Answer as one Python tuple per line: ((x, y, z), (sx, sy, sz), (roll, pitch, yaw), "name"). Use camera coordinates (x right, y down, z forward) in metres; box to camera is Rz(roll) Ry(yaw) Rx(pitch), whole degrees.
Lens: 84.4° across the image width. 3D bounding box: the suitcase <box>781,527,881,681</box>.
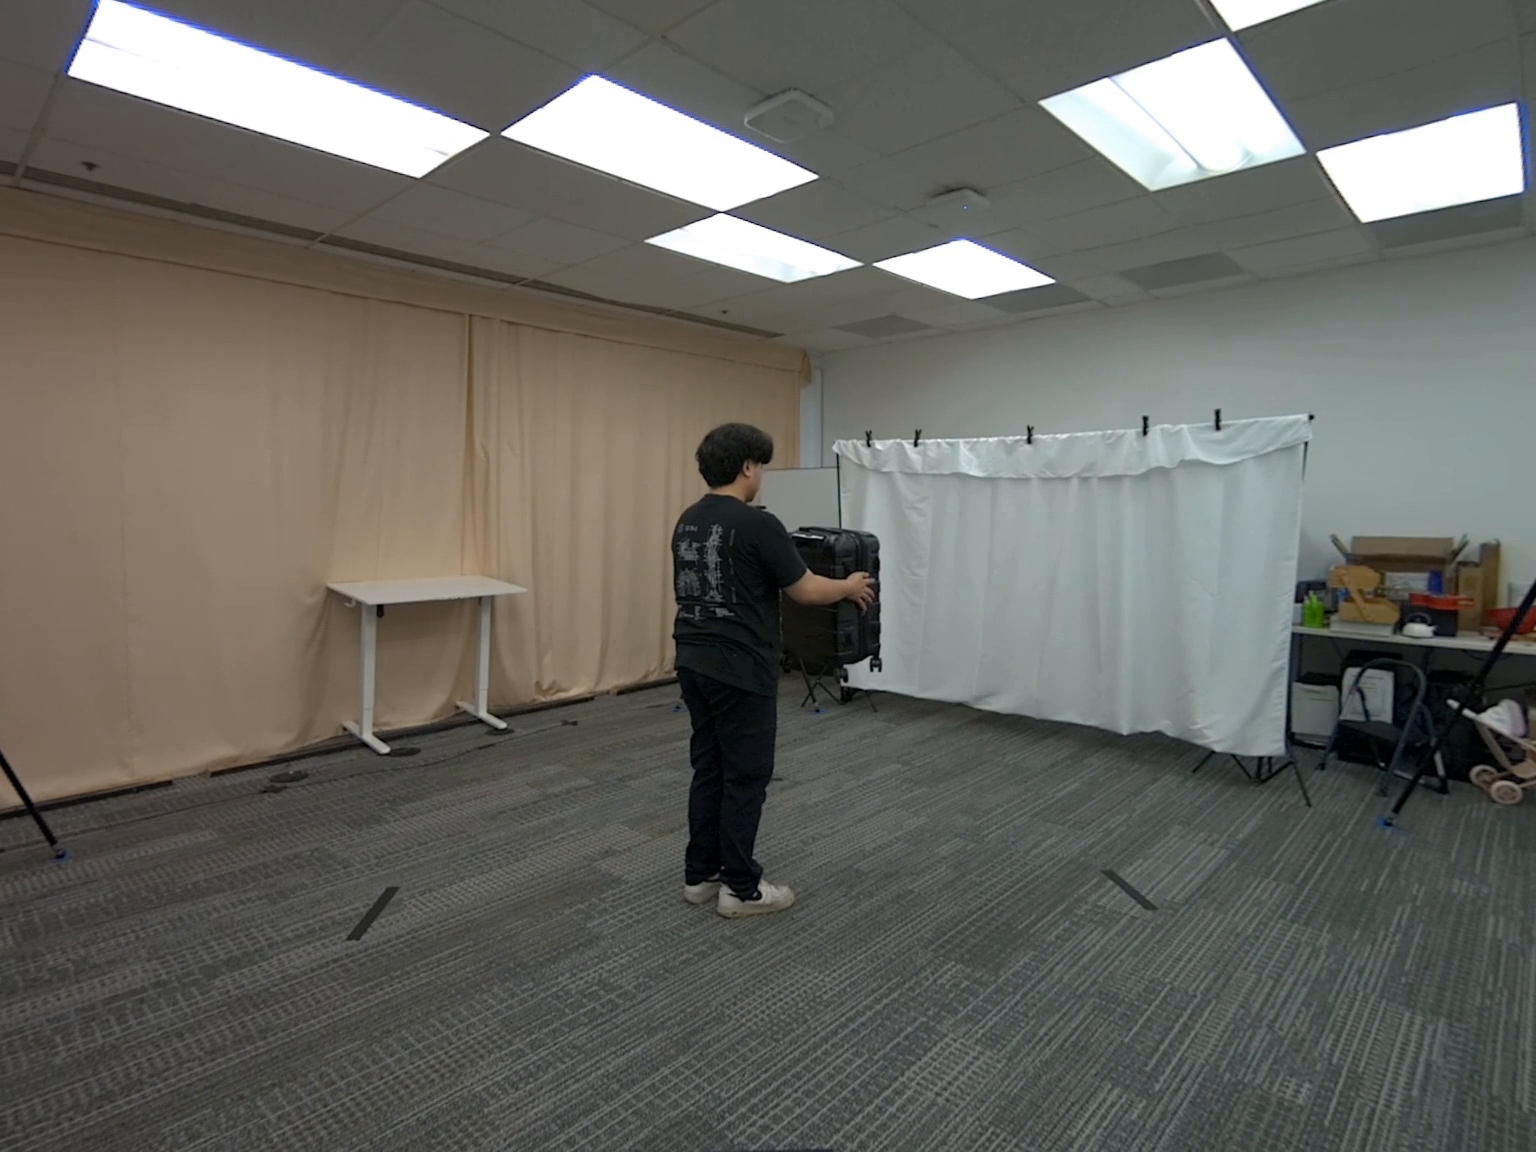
((0.242, 0.089, 3.259), (0.241, 0.547, 0.388), (-8, 9, -41), "suitcase")
